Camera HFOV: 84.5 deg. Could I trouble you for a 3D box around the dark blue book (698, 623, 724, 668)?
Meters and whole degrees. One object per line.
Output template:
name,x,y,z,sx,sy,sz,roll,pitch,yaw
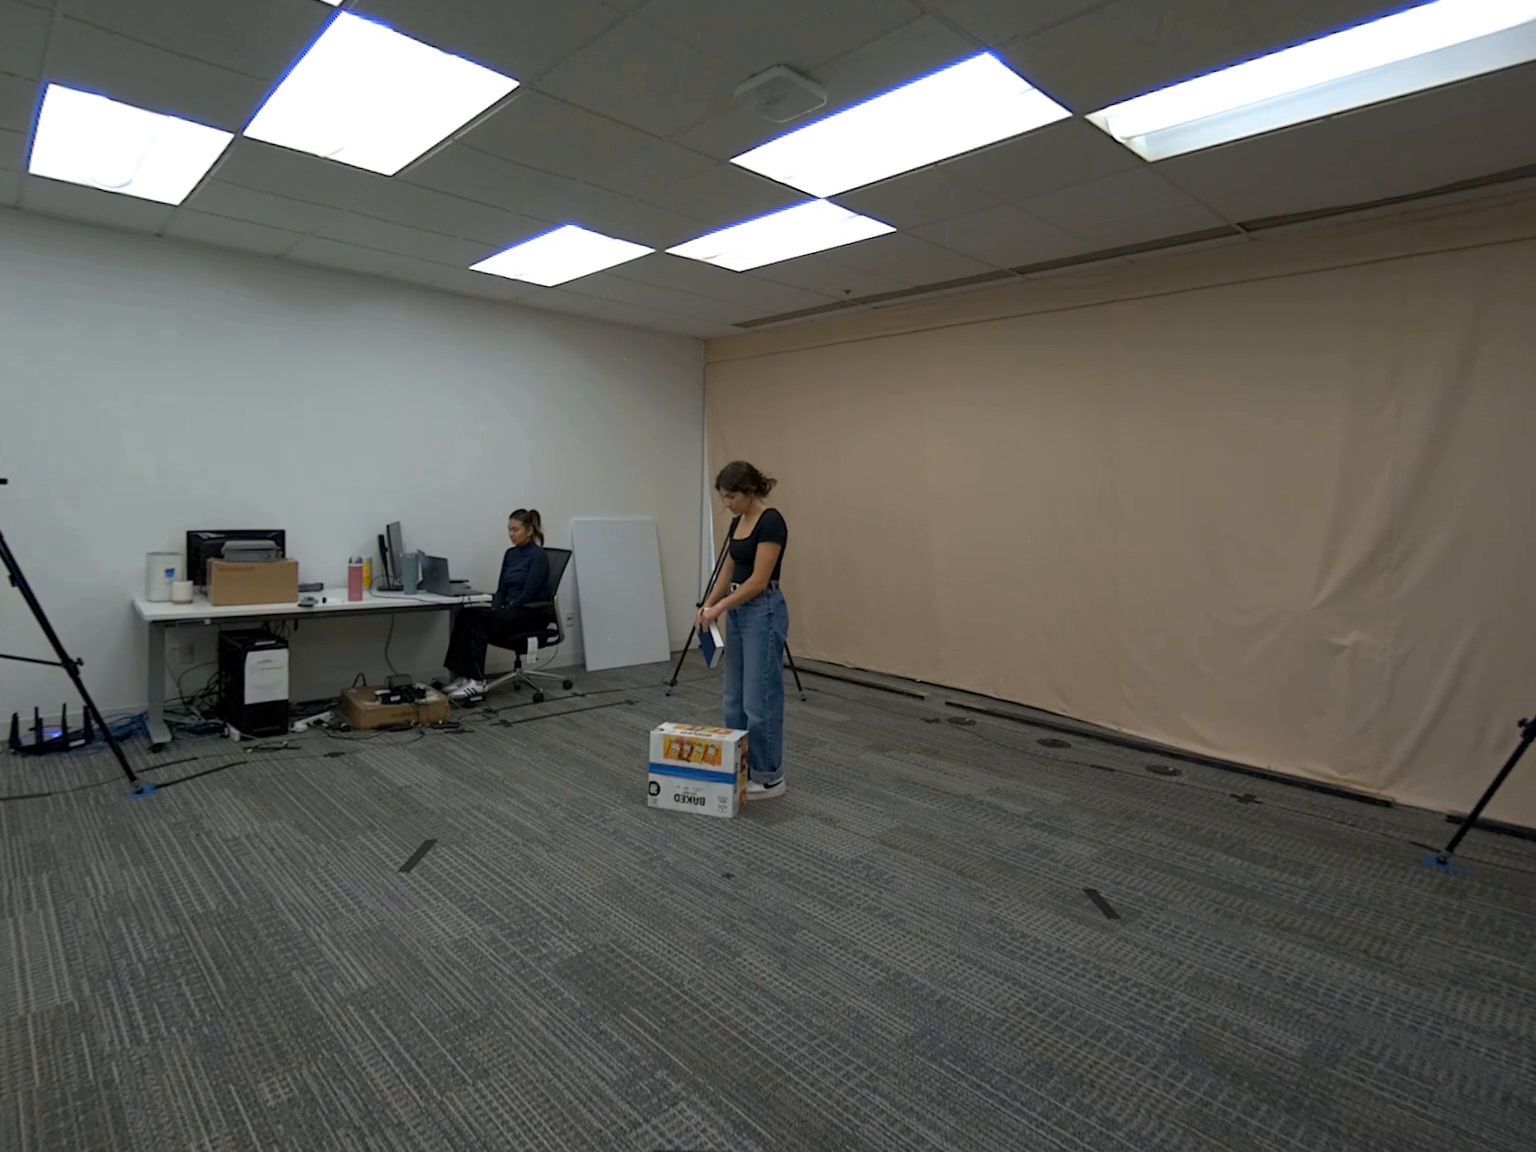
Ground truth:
dark blue book,-0.282,0.290,3.954,0.044,0.161,0.252,-1,45,-16
